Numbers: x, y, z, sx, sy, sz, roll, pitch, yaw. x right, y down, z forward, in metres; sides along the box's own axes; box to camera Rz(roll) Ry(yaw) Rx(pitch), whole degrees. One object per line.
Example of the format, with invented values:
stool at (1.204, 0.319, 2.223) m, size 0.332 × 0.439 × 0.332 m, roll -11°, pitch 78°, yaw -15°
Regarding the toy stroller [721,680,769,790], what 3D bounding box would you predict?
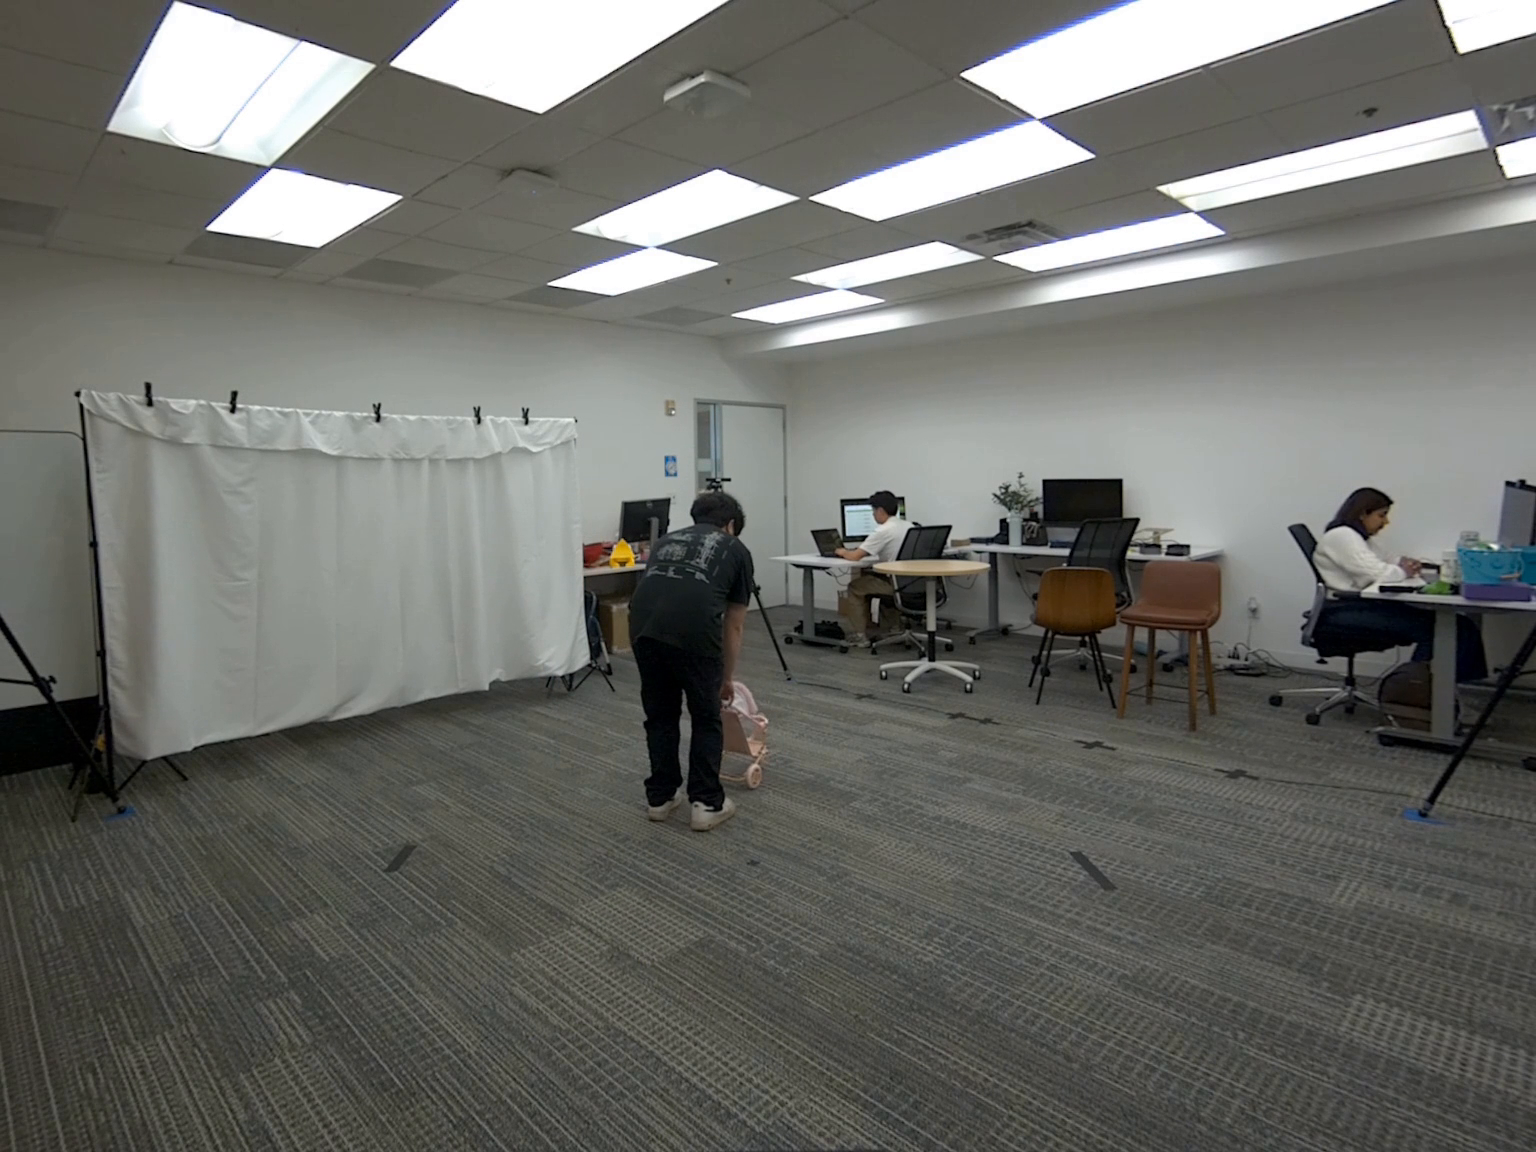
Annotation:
toy stroller at (-0.141, 0.723, 3.960) m, size 0.289 × 0.525 × 0.337 m, roll 3°, pitch 21°, yaw 35°
